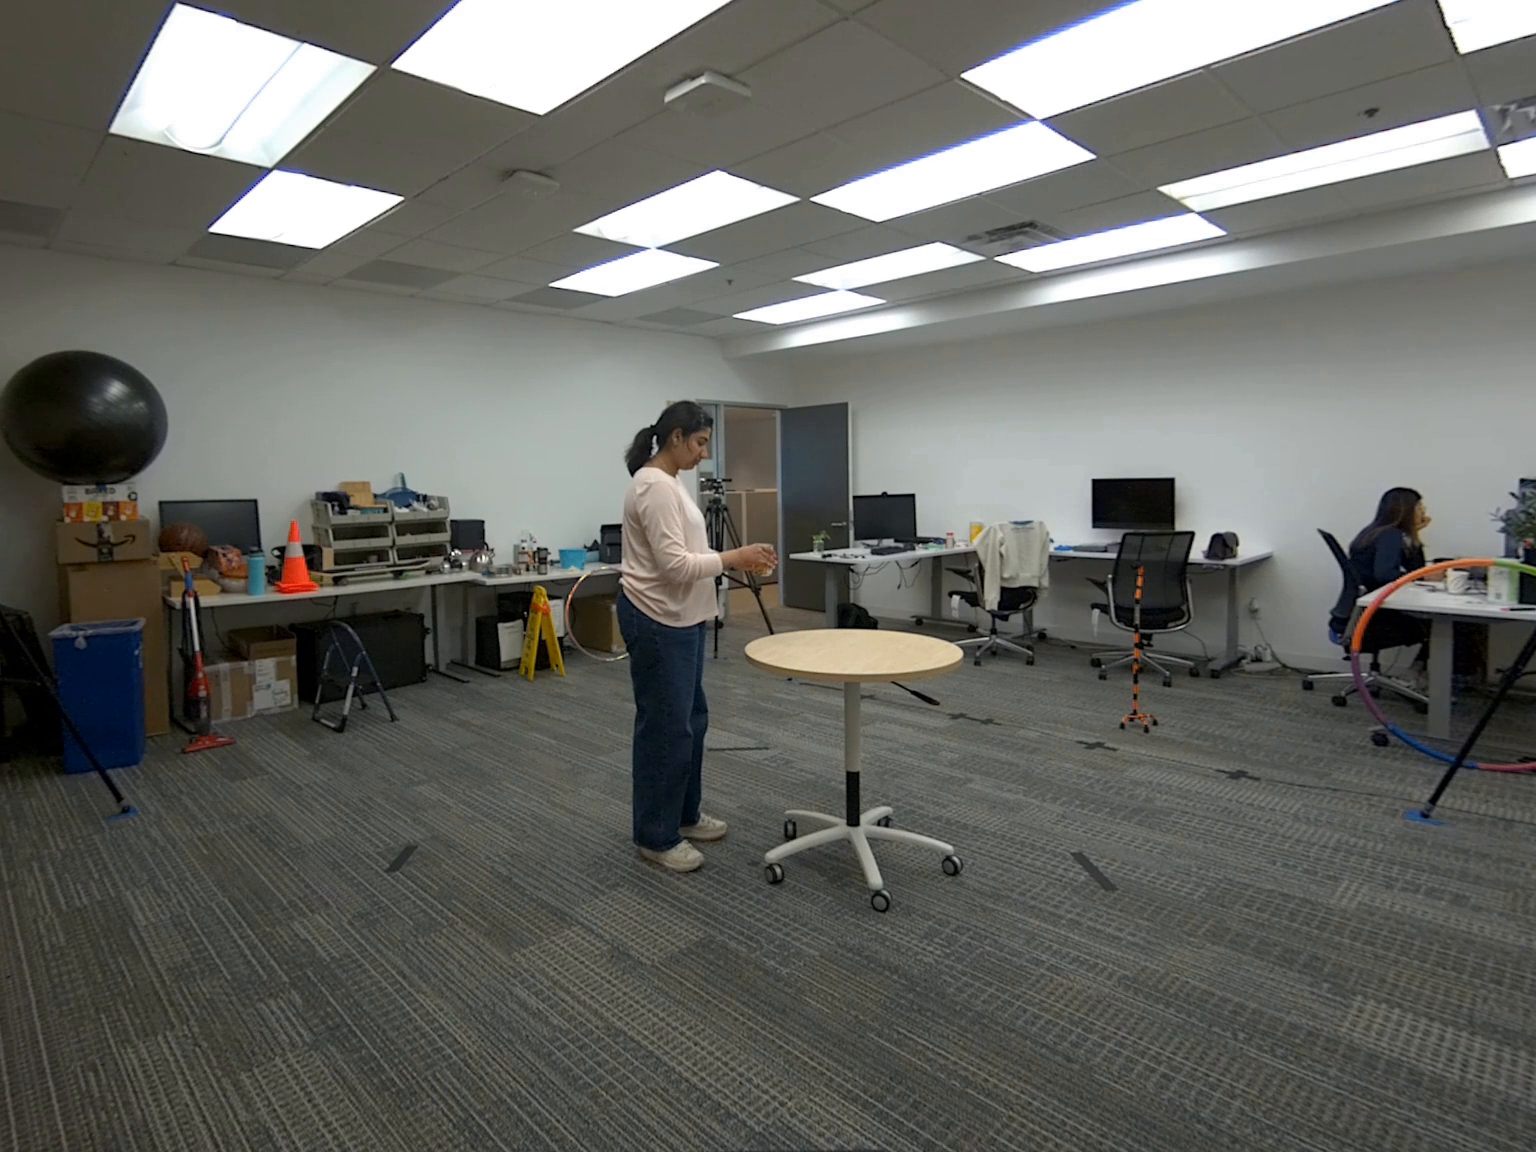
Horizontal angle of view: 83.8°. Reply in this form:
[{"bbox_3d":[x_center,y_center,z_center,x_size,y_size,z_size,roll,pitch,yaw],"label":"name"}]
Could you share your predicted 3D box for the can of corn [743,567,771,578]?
[{"bbox_3d":[-0.017,-0.056,3.147,0.074,0.110,0.074,-5,6,-1],"label":"can of corn"}]
